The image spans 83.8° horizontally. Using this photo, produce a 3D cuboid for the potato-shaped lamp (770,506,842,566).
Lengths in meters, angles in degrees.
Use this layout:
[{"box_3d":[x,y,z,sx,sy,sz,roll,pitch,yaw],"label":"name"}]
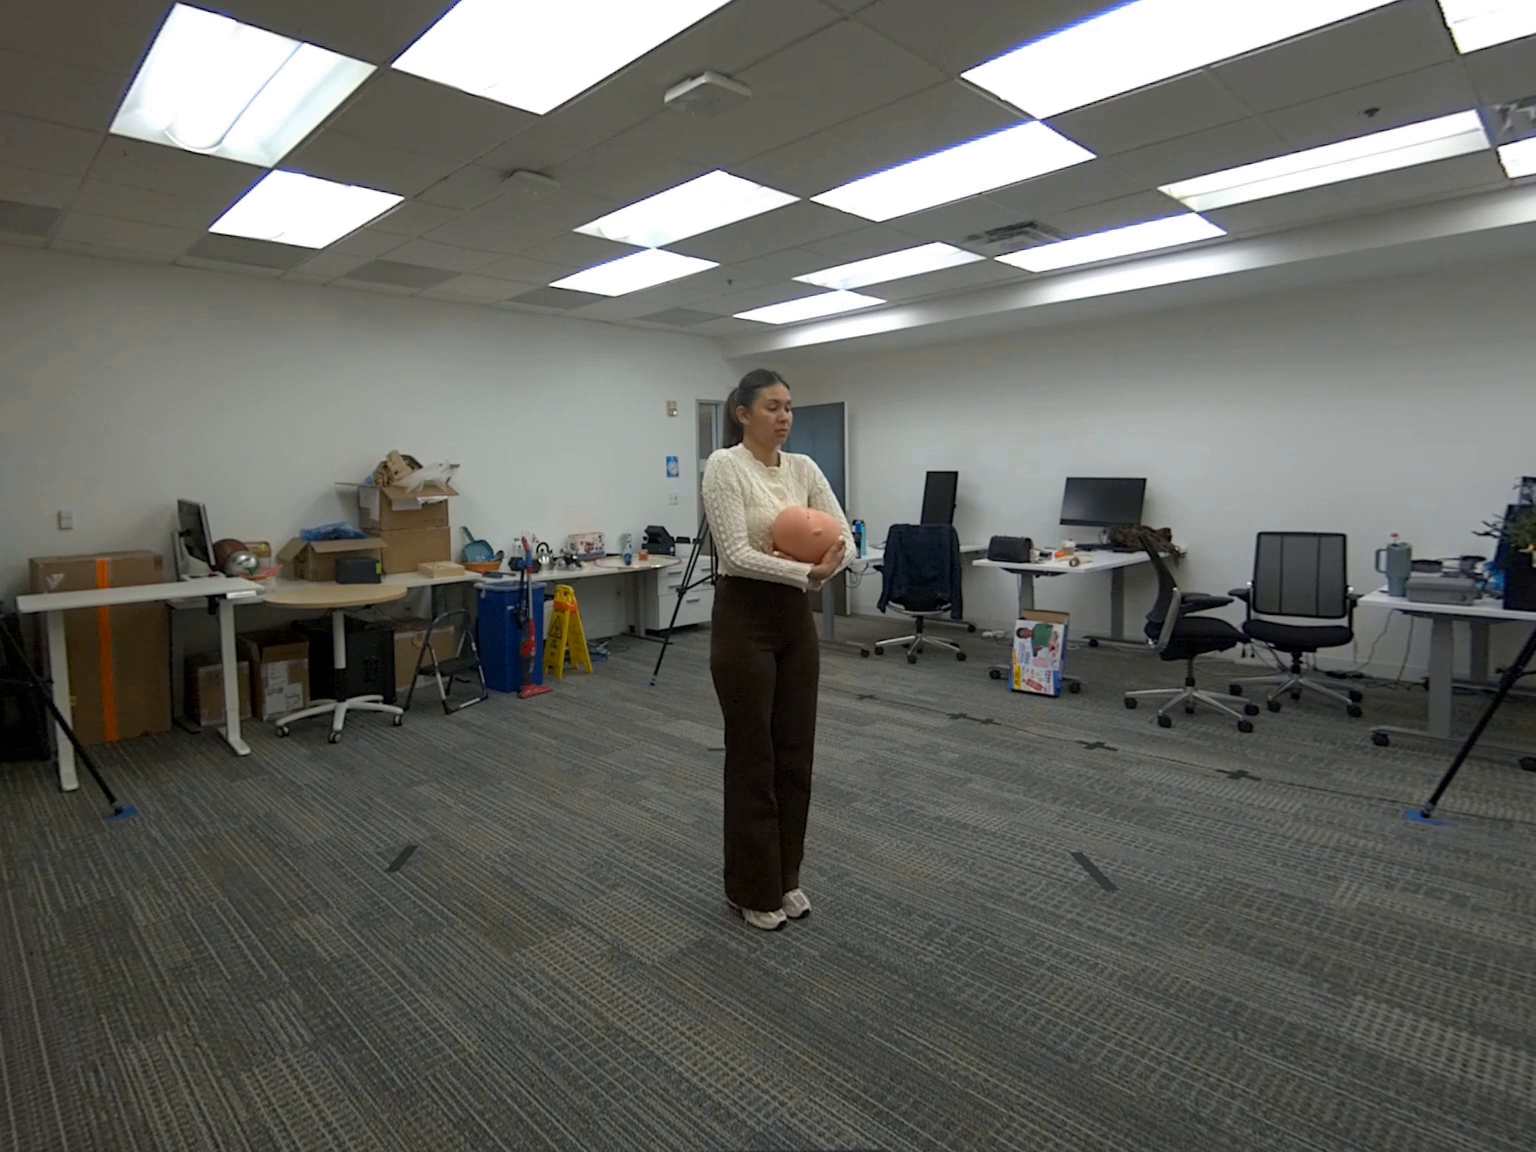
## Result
[{"box_3d":[0.105,-0.122,2.534,0.192,0.171,0.170,31,28,-26],"label":"potato-shaped lamp"}]
